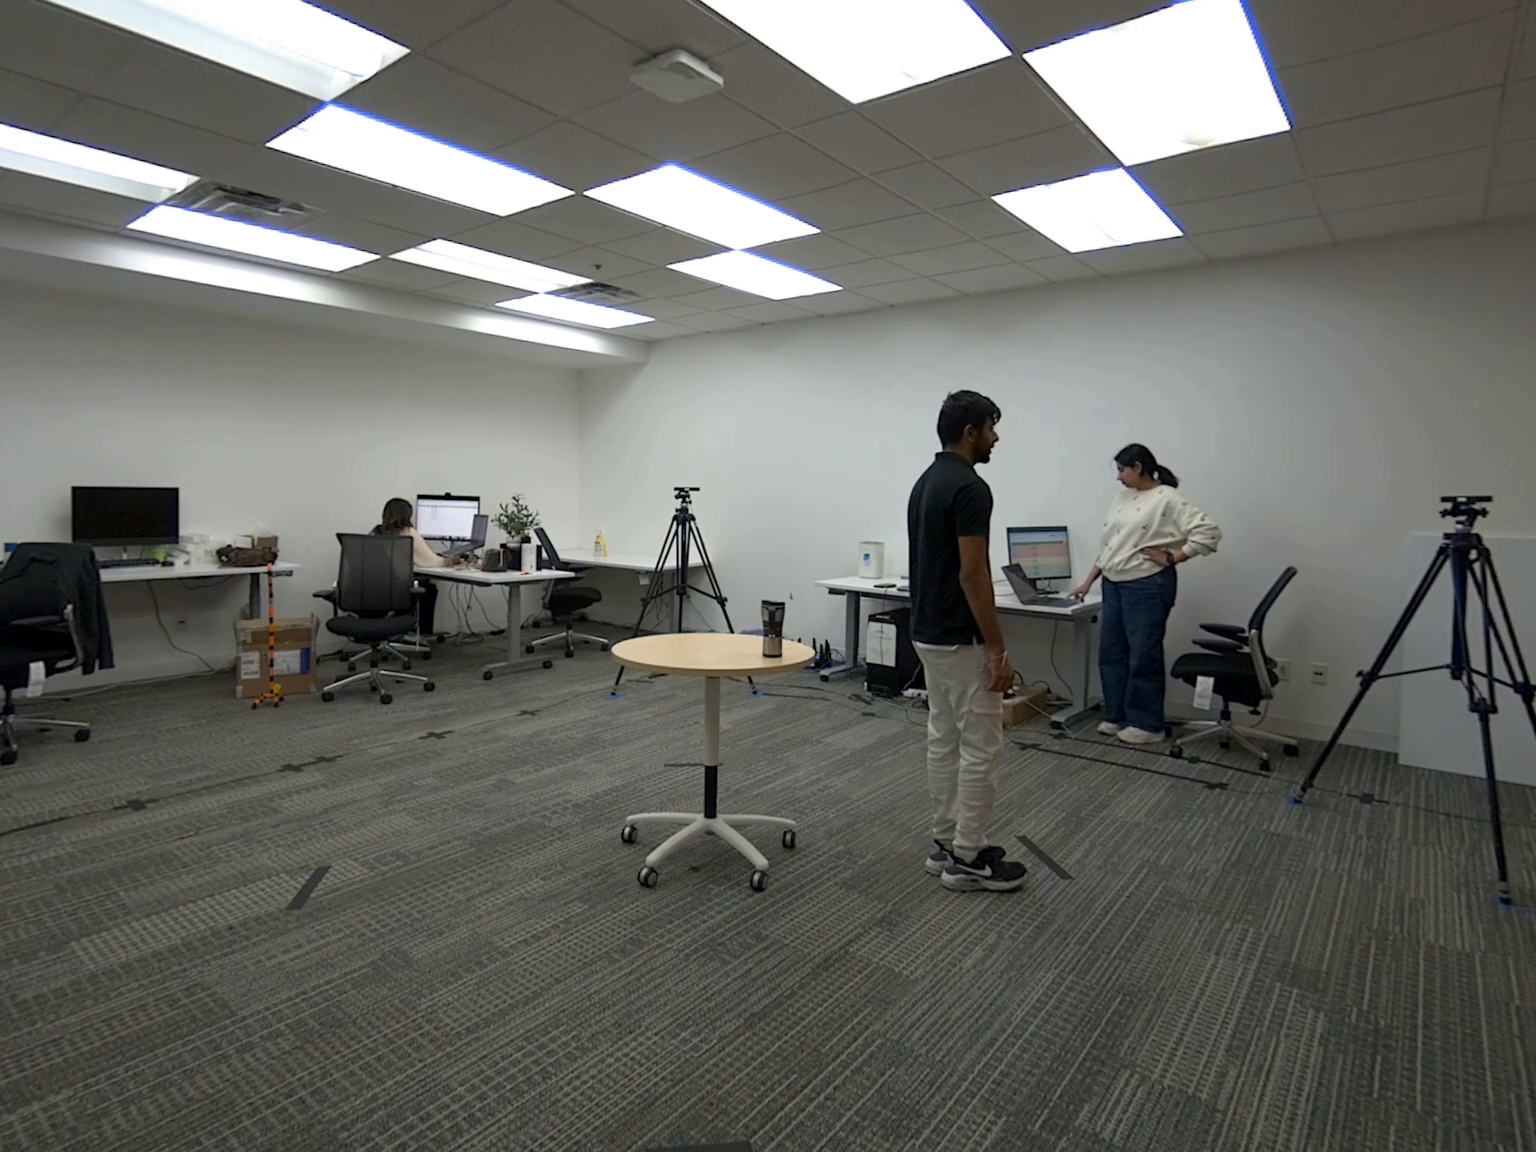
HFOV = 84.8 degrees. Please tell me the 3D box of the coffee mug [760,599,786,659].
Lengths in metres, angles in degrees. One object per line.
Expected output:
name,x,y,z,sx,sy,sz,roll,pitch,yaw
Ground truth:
coffee mug,-0.002,0.189,3.064,0.090,0.203,0.119,5,0,20
